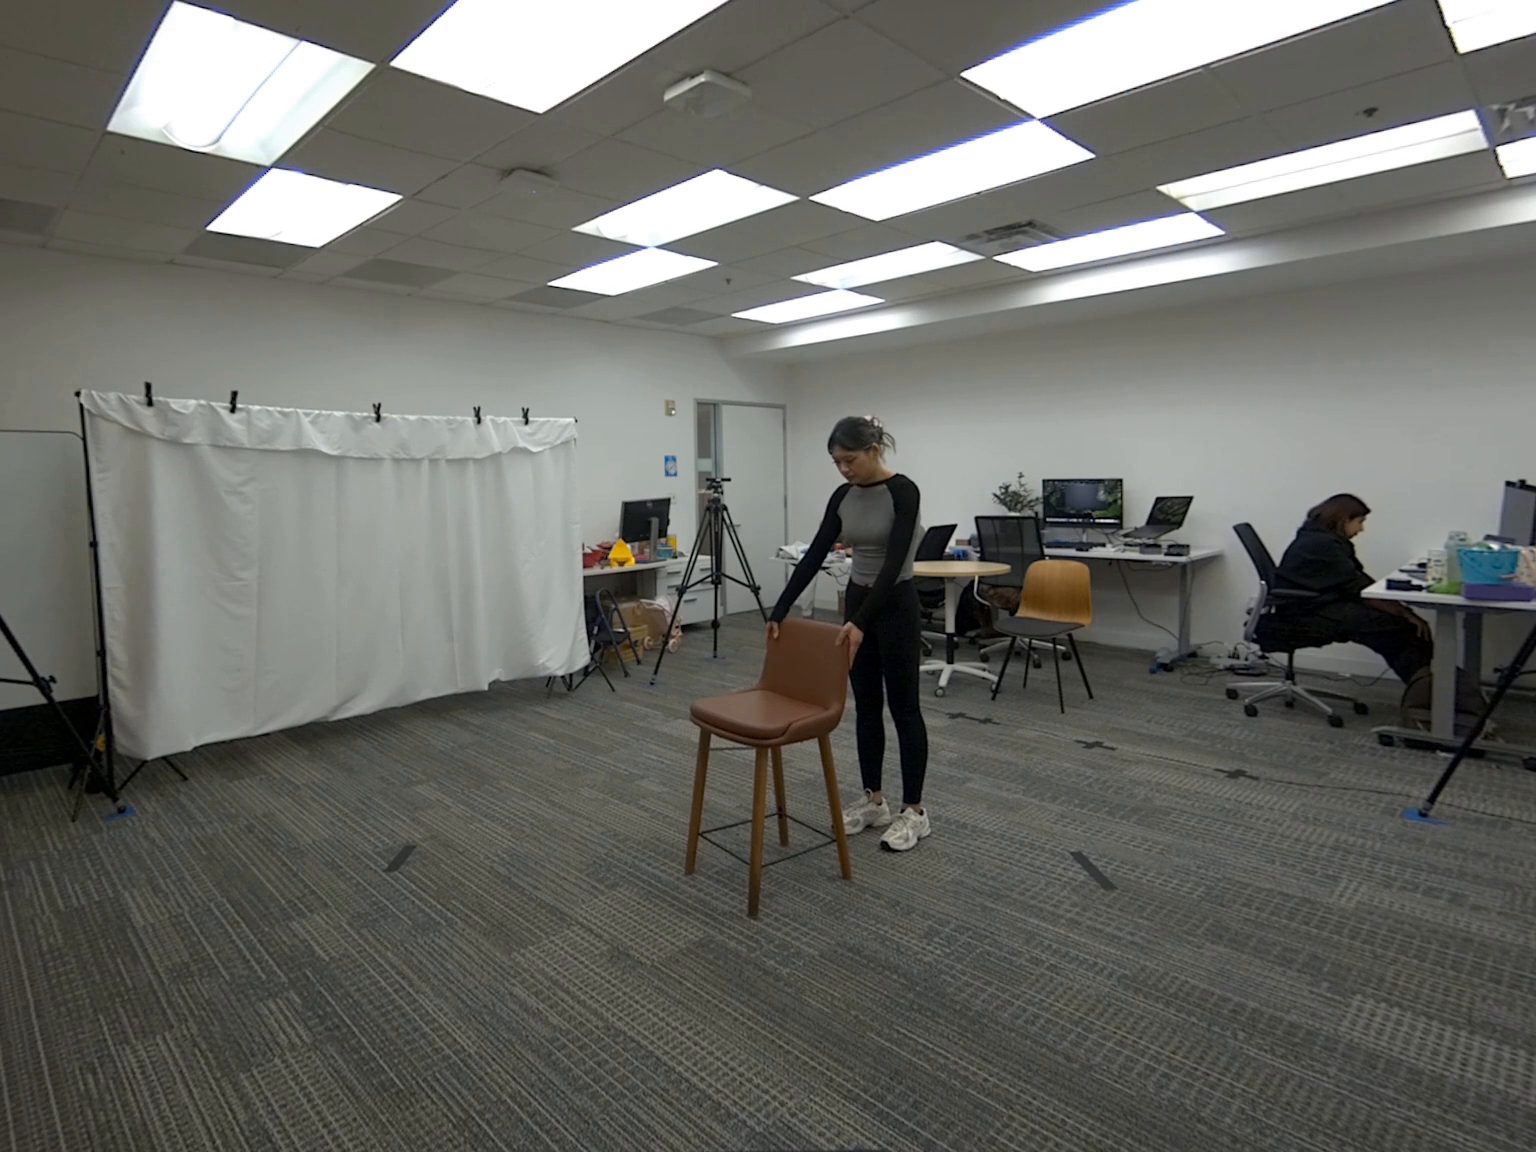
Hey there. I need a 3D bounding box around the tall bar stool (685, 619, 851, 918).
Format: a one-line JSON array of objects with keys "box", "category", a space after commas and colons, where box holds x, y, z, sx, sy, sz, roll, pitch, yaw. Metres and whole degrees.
[{"box": [0.009, 0.618, 2.973, 0.455, 0.888, 0.470, -1, 3, -37], "category": "tall bar stool"}]
